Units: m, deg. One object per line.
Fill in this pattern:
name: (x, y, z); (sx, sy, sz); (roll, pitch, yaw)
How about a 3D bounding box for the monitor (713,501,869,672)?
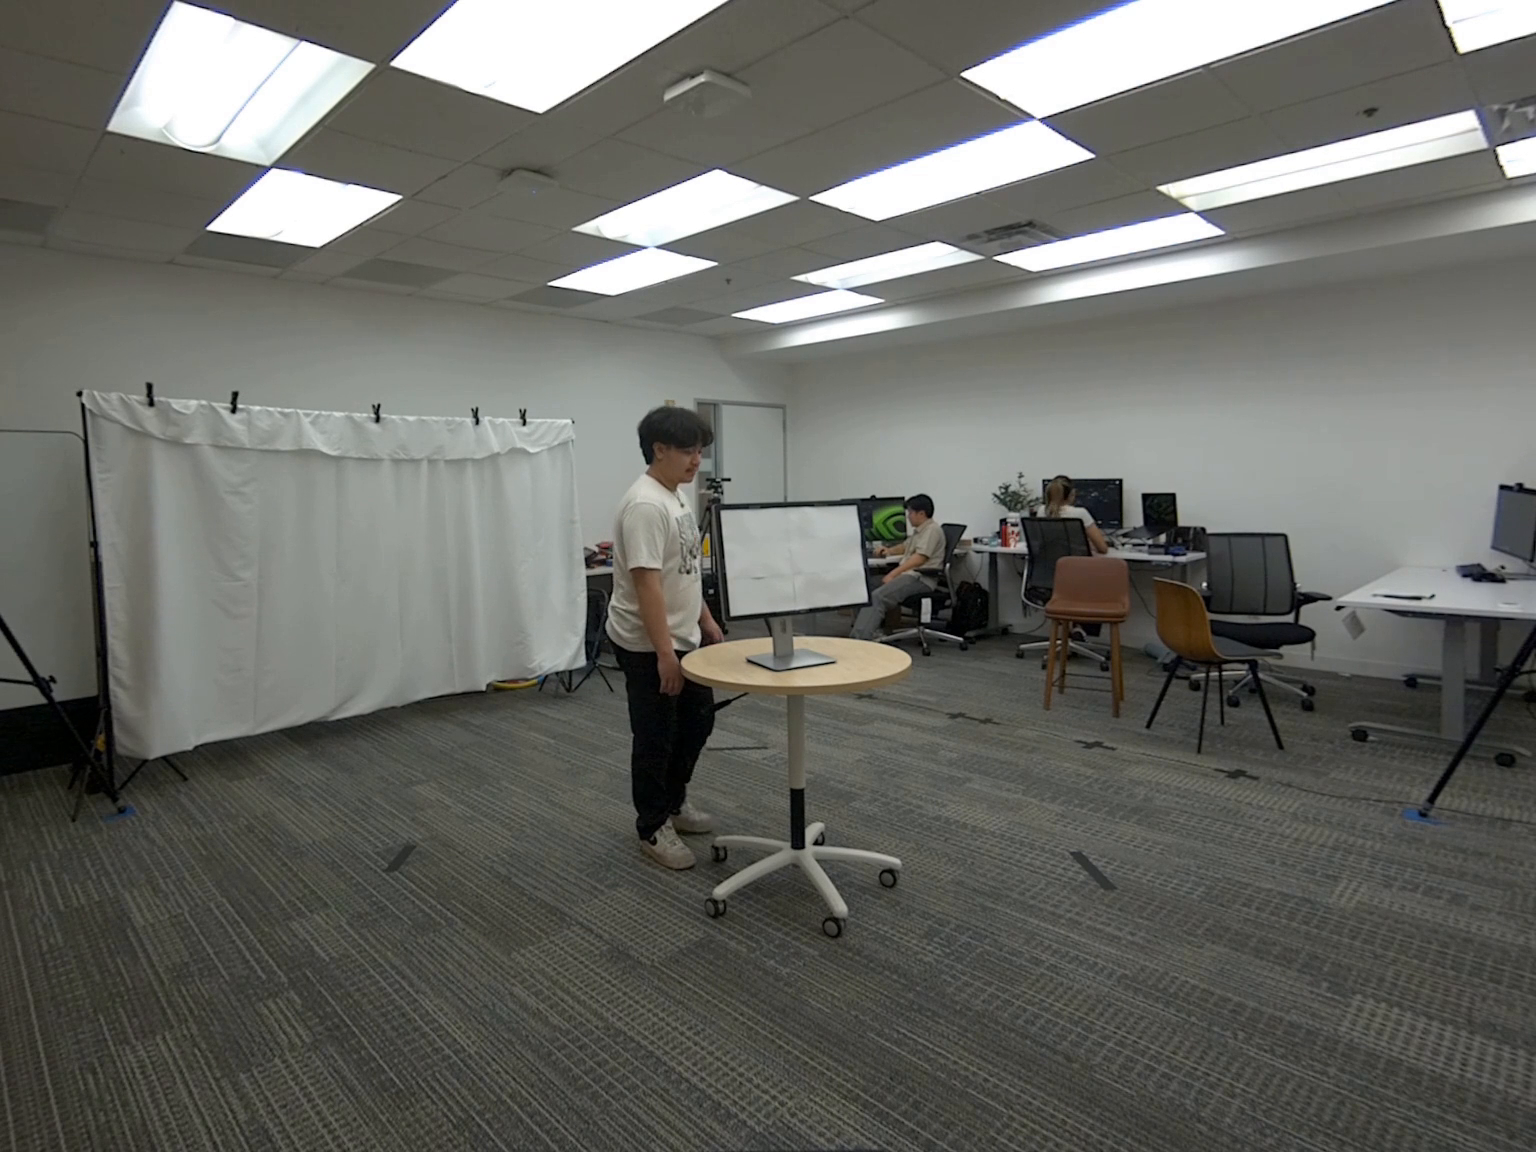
monitor: (0.059, 0.027, 2.818); (0.552, 0.554, 0.215); (-4, 0, -30)
